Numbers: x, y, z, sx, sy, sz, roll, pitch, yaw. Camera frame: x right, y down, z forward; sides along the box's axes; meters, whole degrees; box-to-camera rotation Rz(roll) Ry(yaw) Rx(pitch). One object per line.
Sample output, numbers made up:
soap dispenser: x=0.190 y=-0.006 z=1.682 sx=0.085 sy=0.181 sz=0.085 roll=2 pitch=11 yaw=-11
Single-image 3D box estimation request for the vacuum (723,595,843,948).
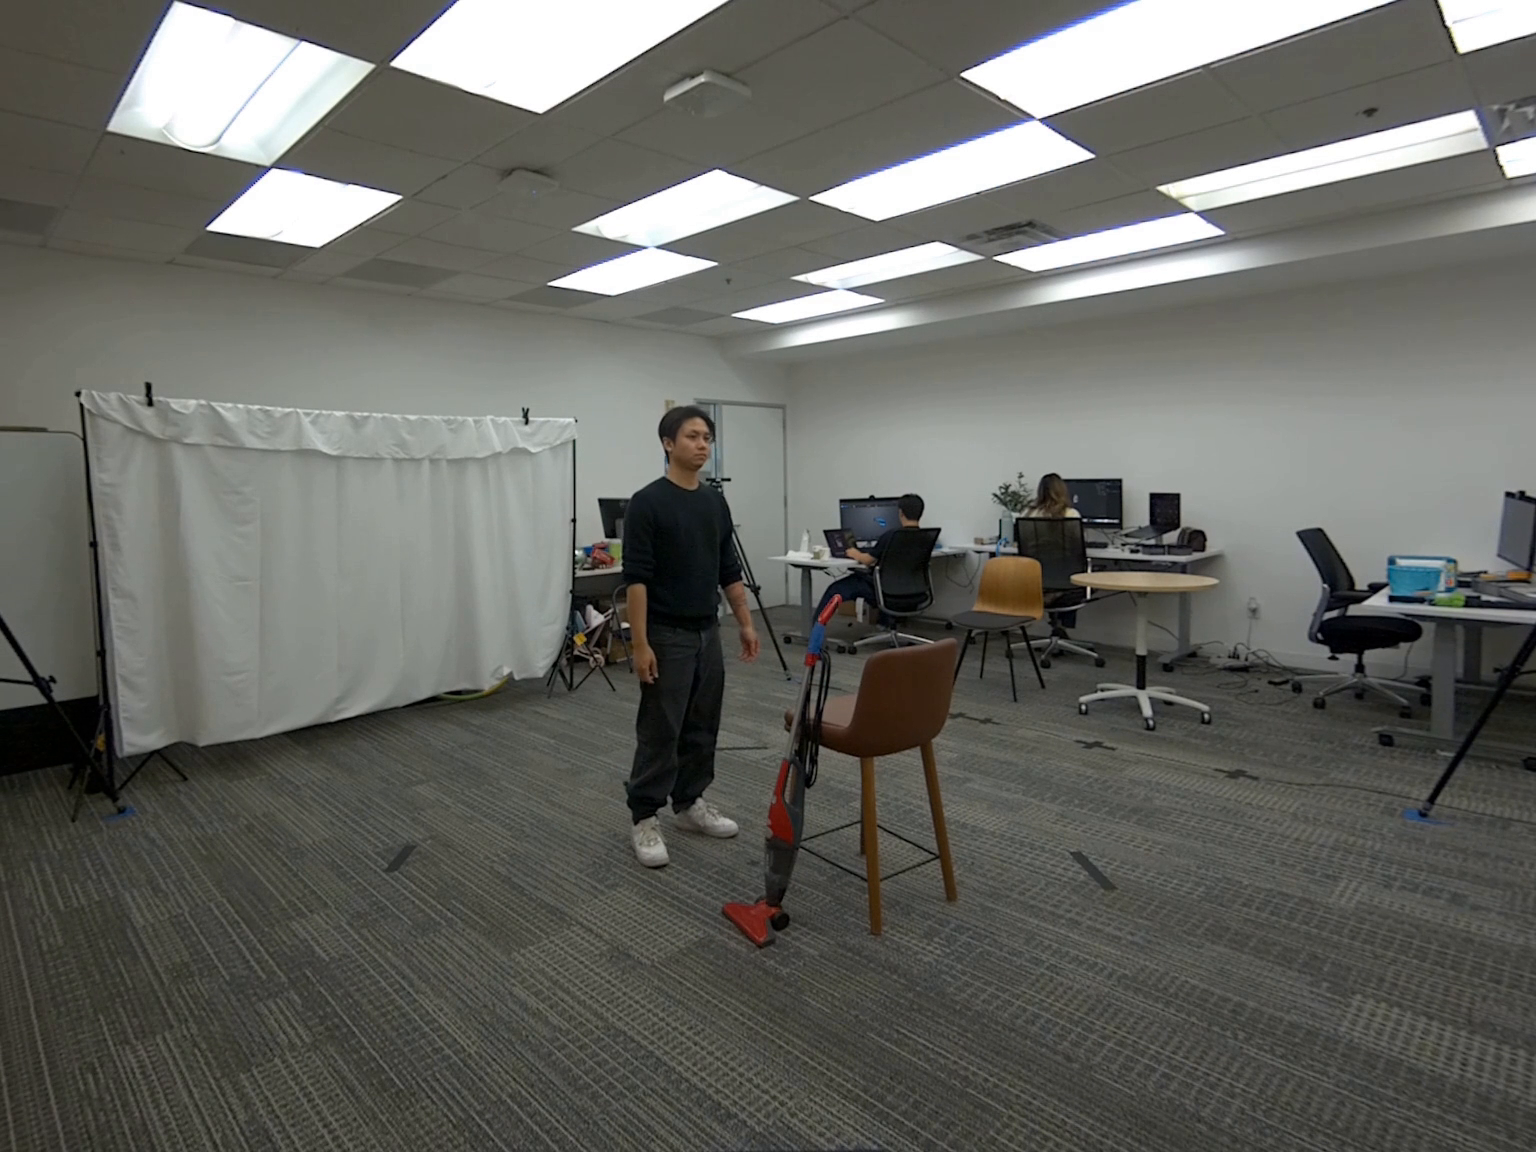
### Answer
vacuum: x=0.103 y=0.584 z=2.714 sx=0.139 sy=1.052 sz=0.260 roll=16 pitch=-5 yaw=-34
